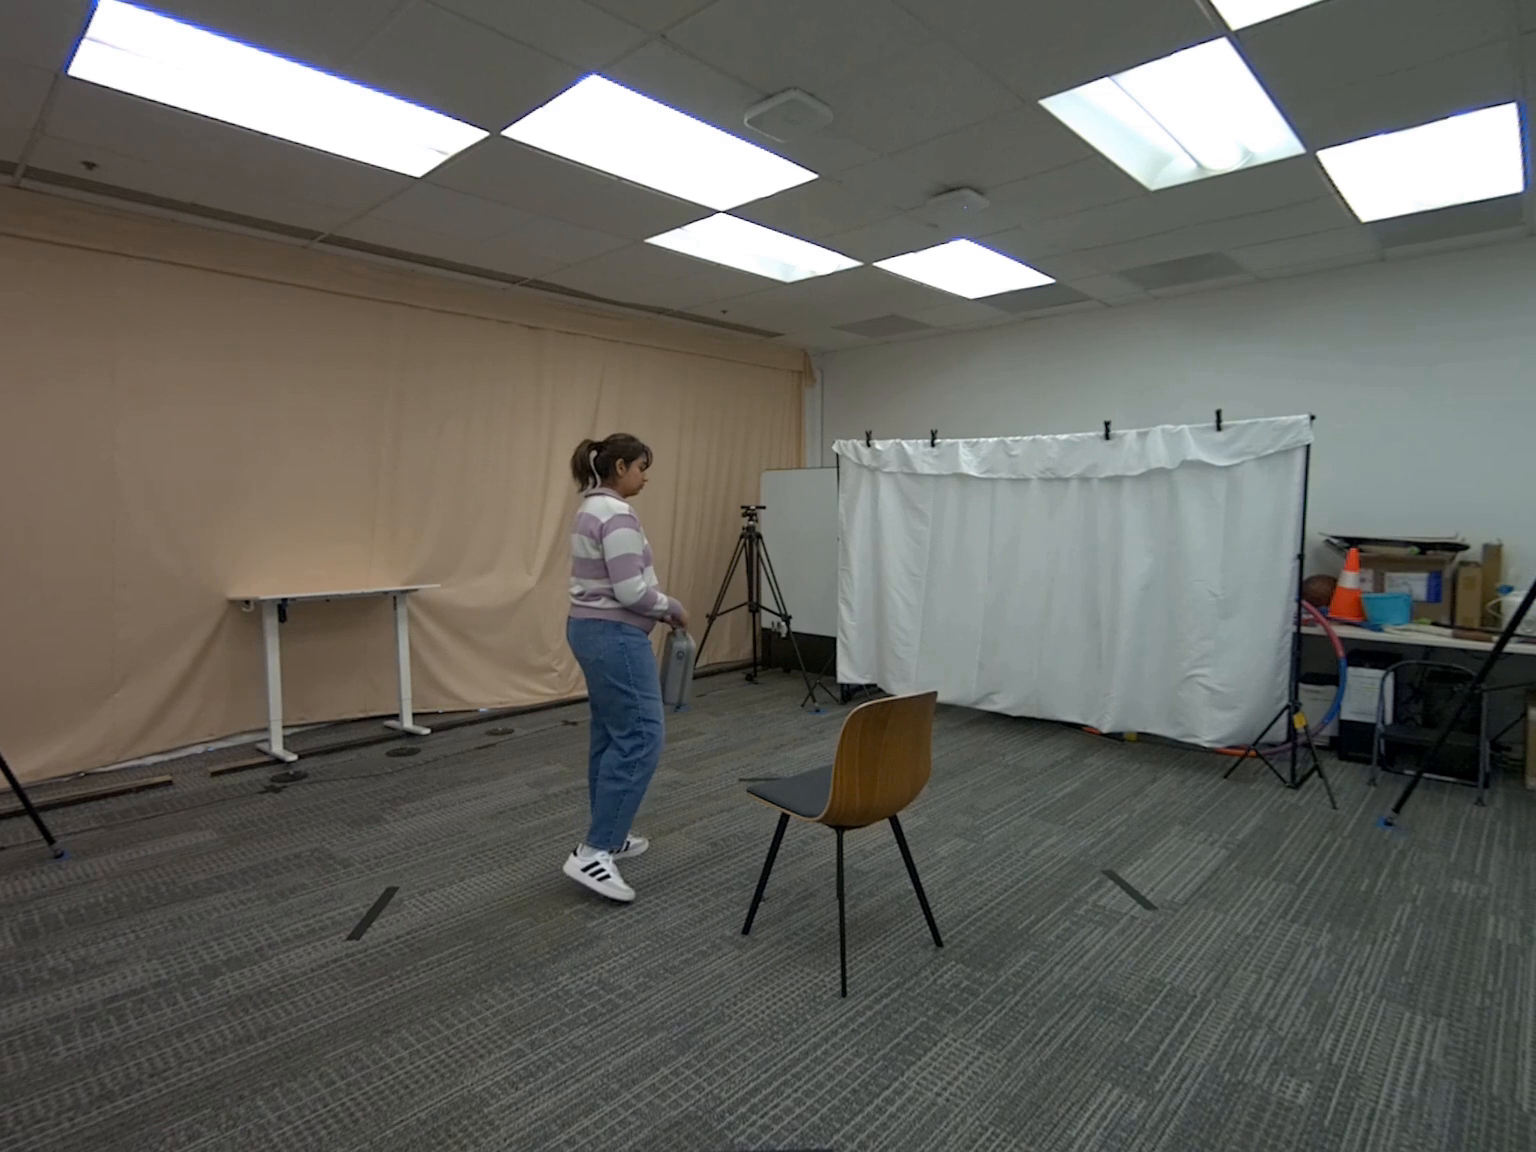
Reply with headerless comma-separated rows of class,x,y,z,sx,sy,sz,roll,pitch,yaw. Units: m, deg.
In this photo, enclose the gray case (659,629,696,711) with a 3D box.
gray case,-0.355,0.360,3.294,0.103,0.260,0.260,9,2,-13
